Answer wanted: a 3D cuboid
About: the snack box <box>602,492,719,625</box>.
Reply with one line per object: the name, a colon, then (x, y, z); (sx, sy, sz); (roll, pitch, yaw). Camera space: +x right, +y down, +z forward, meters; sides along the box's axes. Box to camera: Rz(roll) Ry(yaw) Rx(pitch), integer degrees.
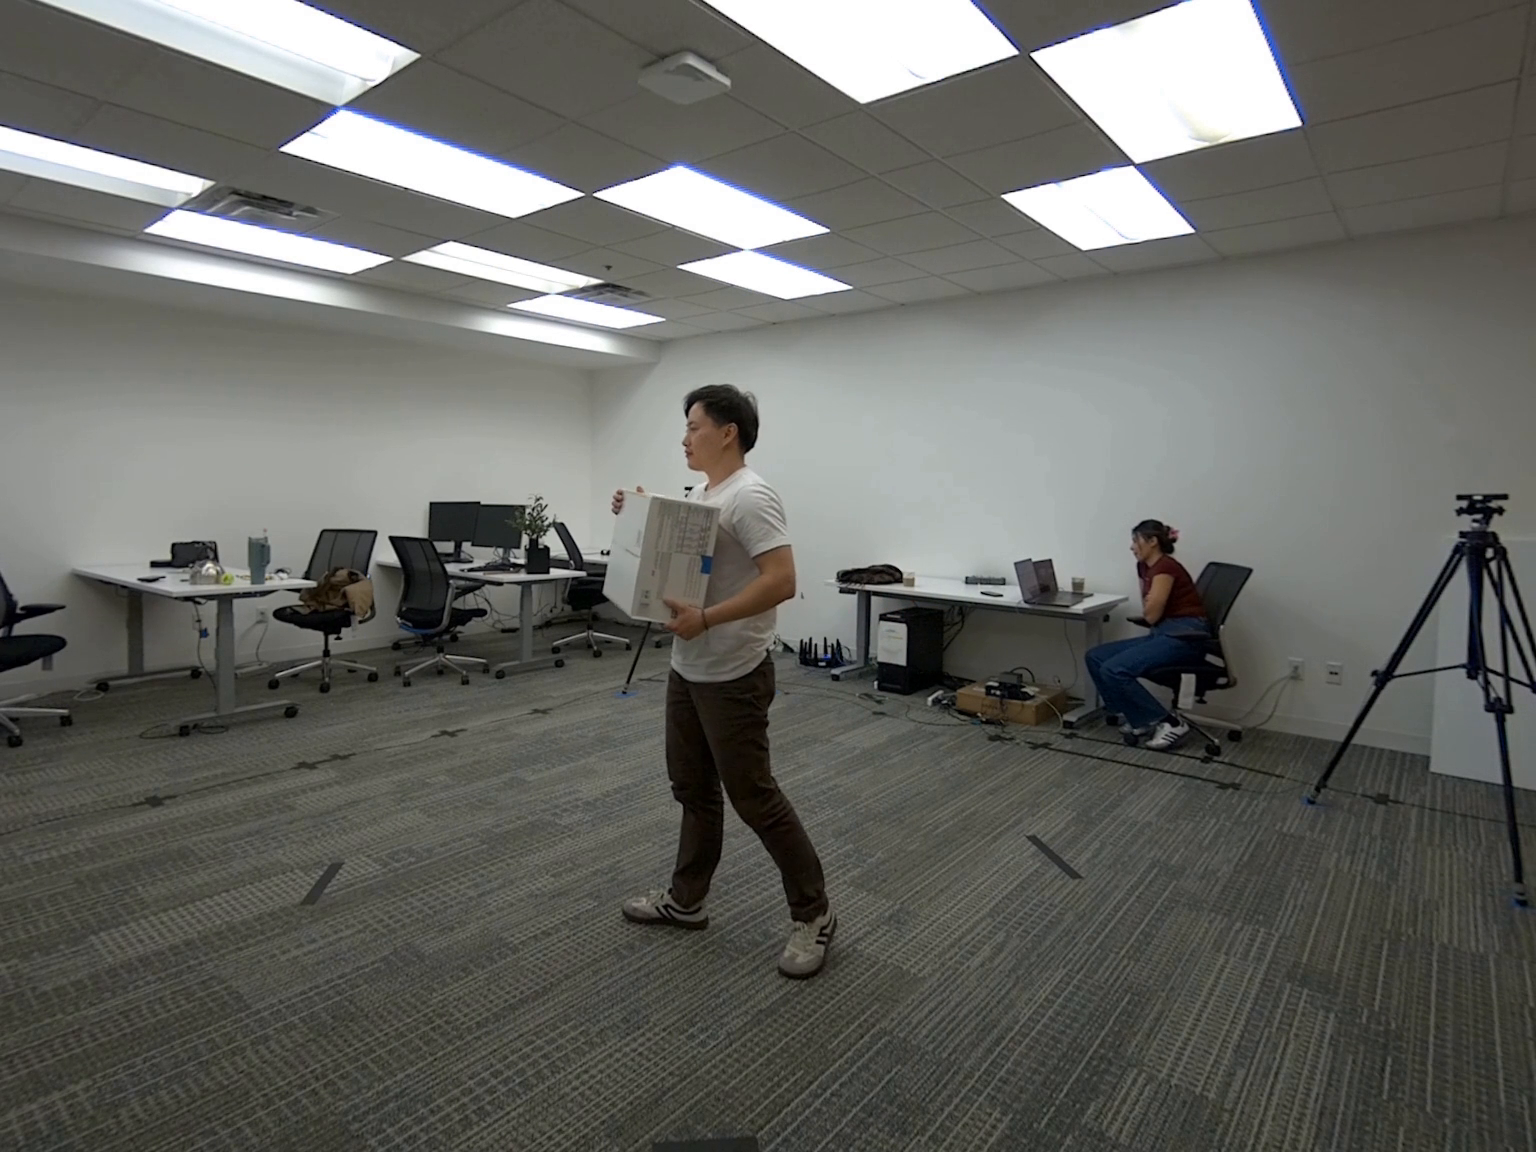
snack box: (-0.336, -0.064, 2.500); (0.201, 0.339, 0.415); (9, 4, -20)
